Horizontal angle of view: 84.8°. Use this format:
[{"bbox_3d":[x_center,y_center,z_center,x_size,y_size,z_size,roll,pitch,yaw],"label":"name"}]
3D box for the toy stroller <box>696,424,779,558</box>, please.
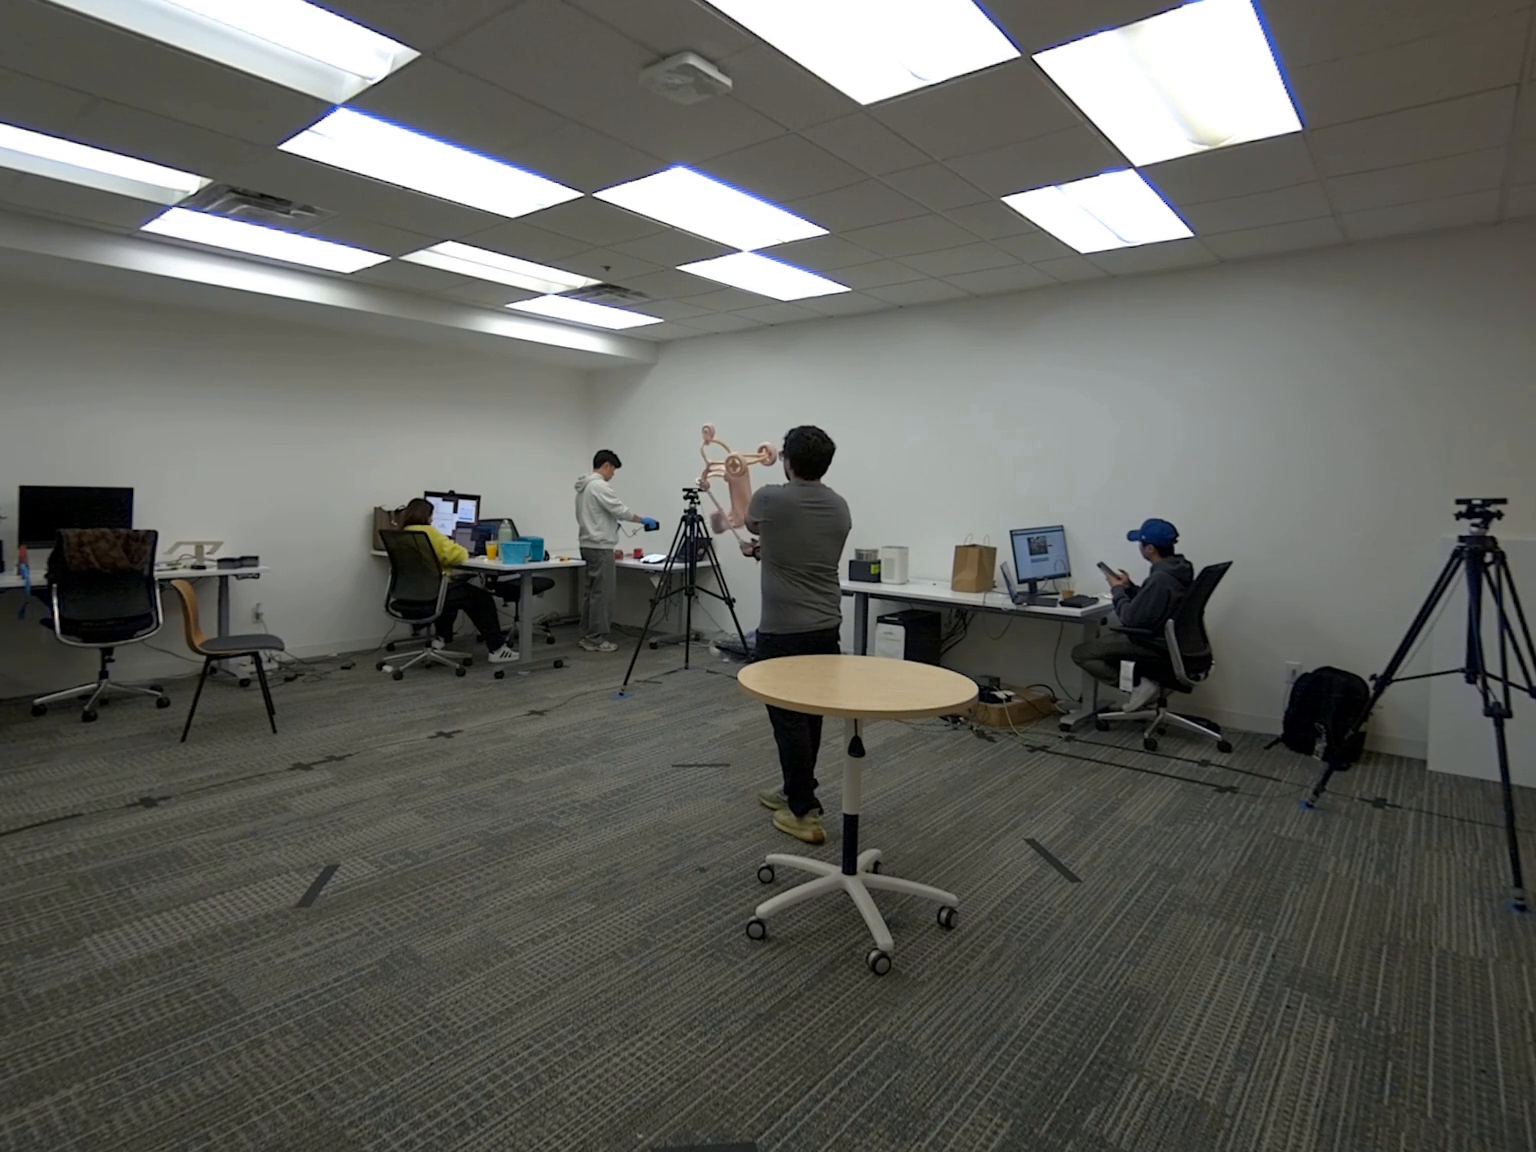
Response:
[{"bbox_3d":[-0.188,-0.415,3.888,0.352,0.525,0.278,16,26,26],"label":"toy stroller"}]
